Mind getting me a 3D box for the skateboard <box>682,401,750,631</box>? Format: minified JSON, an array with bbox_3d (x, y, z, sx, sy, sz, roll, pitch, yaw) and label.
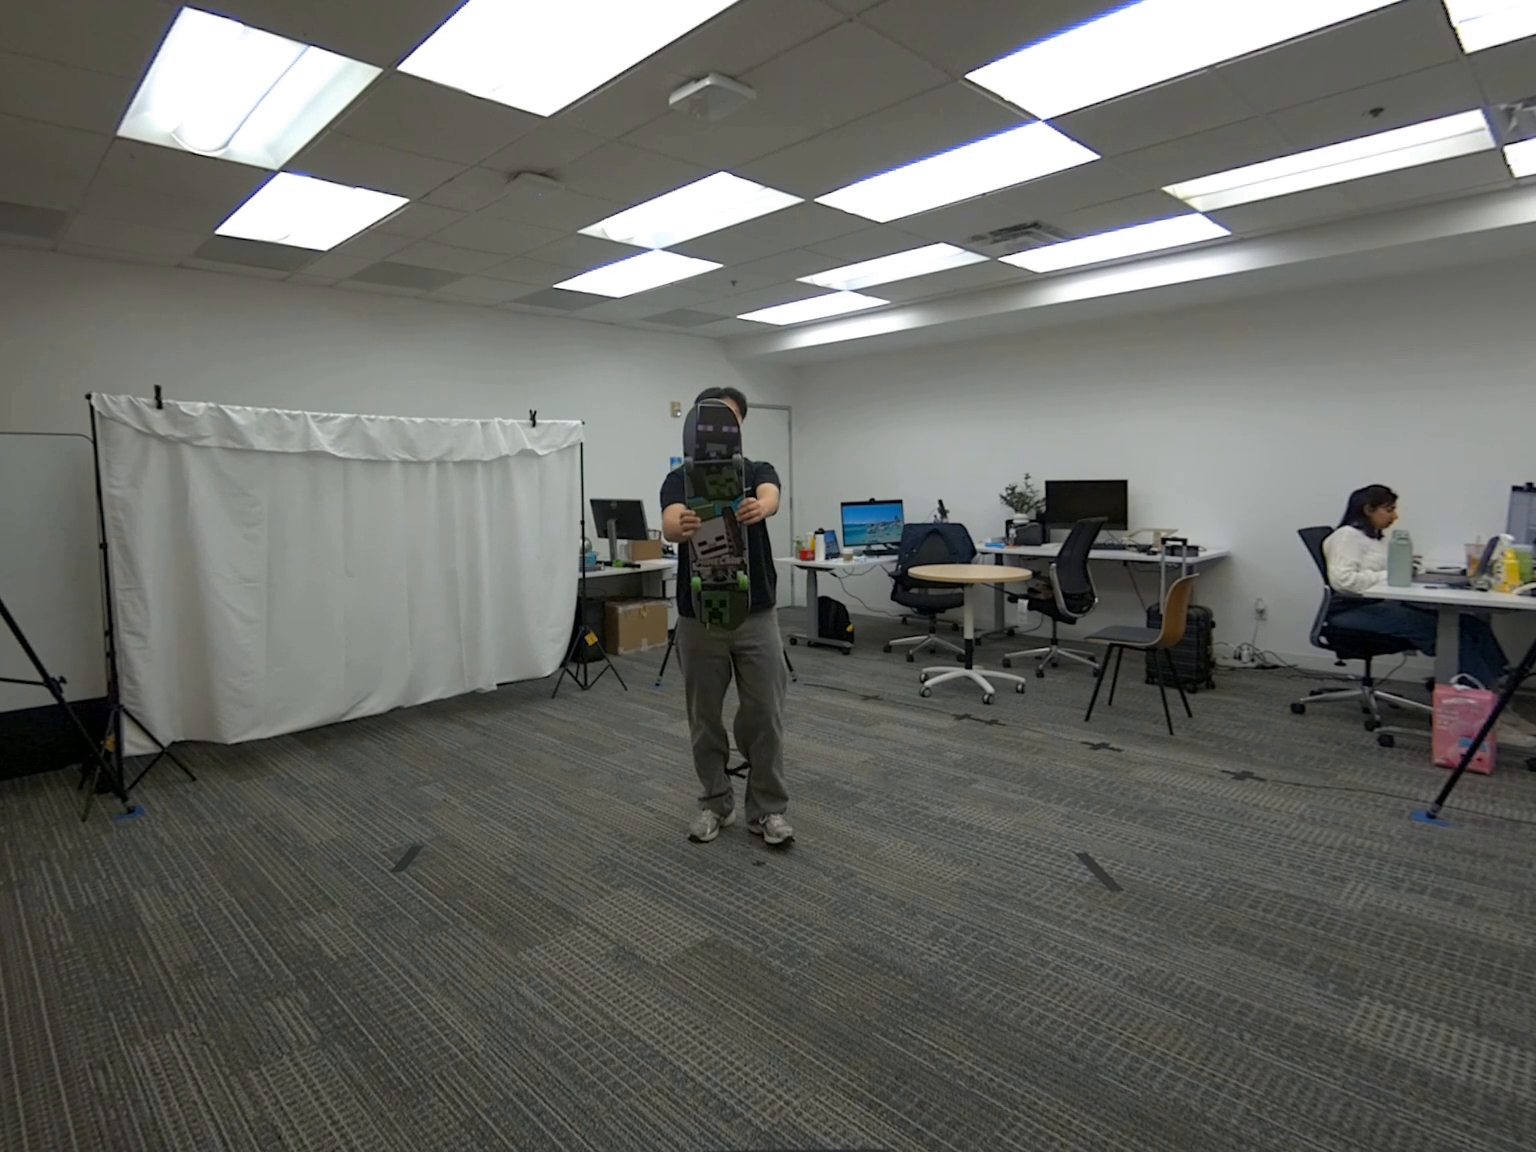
[{"bbox_3d":[-0.162,-0.171,2.790,0.194,0.776,0.111,-4,12,3],"label":"skateboard"}]
